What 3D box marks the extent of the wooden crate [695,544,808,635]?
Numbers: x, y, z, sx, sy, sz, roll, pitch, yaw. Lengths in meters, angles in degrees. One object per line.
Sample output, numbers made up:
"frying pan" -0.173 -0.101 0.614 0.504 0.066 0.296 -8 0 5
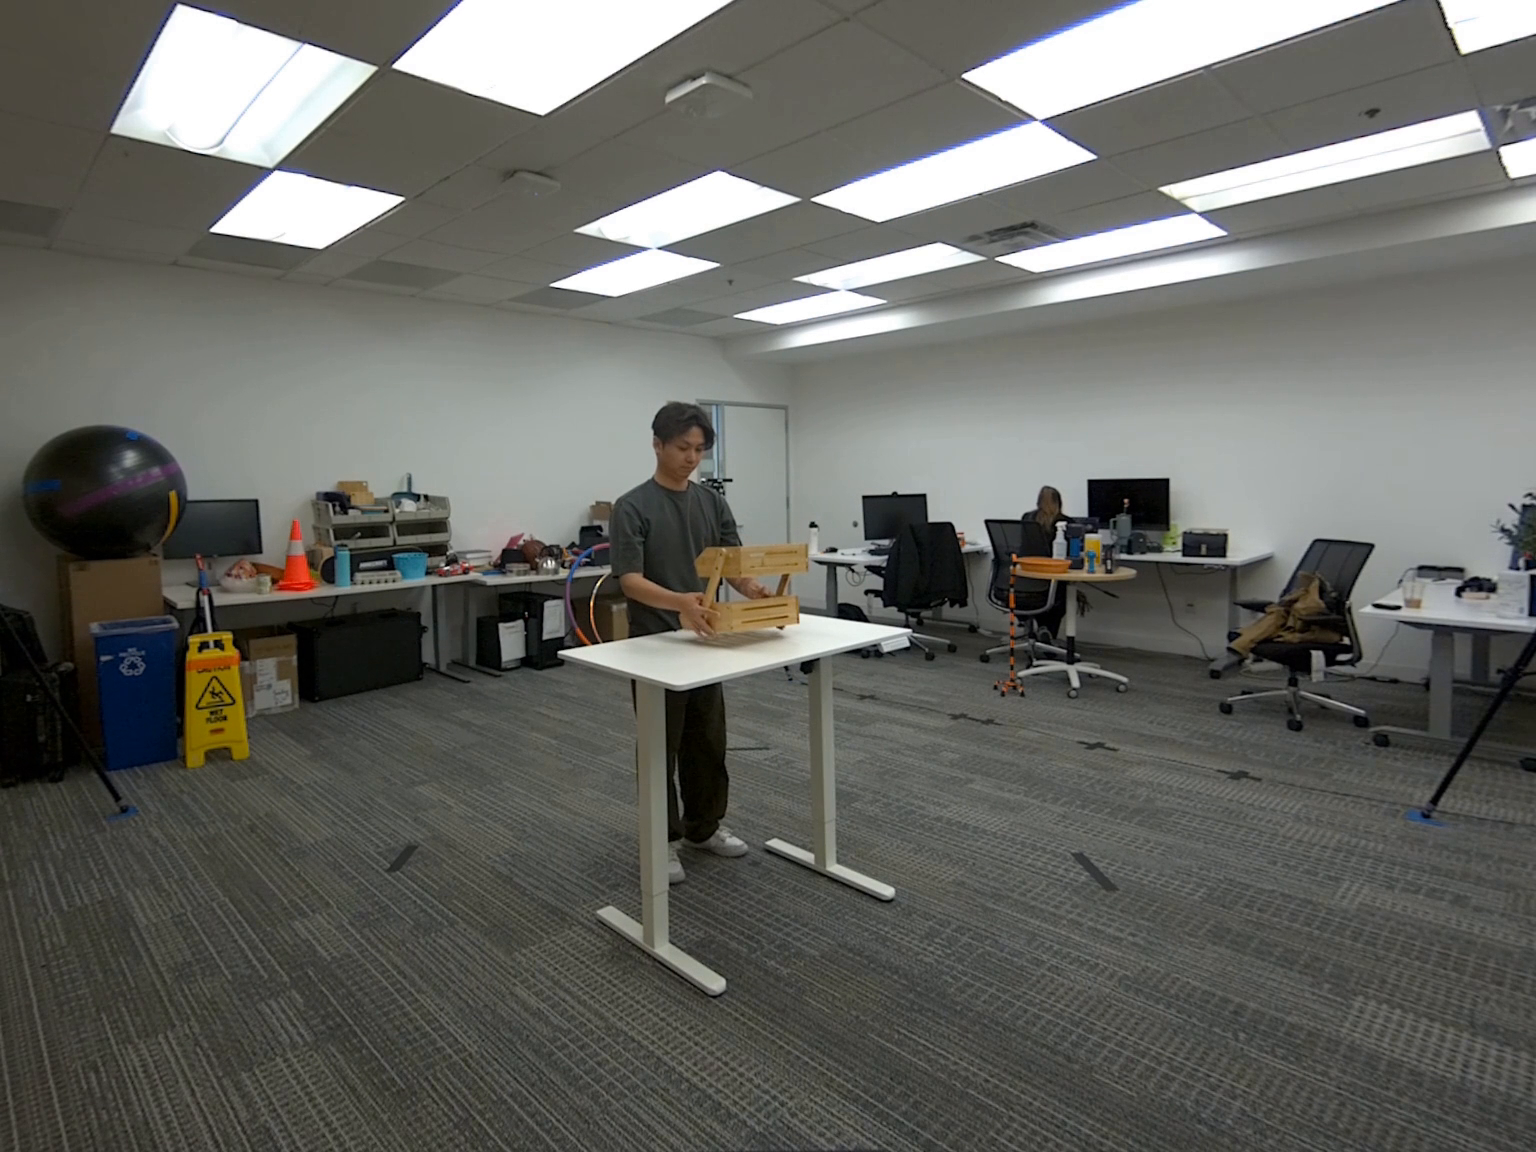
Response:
"wooden crate" -0.084 0.033 2.745 0.316 0.273 0.310 -4 2 -42
